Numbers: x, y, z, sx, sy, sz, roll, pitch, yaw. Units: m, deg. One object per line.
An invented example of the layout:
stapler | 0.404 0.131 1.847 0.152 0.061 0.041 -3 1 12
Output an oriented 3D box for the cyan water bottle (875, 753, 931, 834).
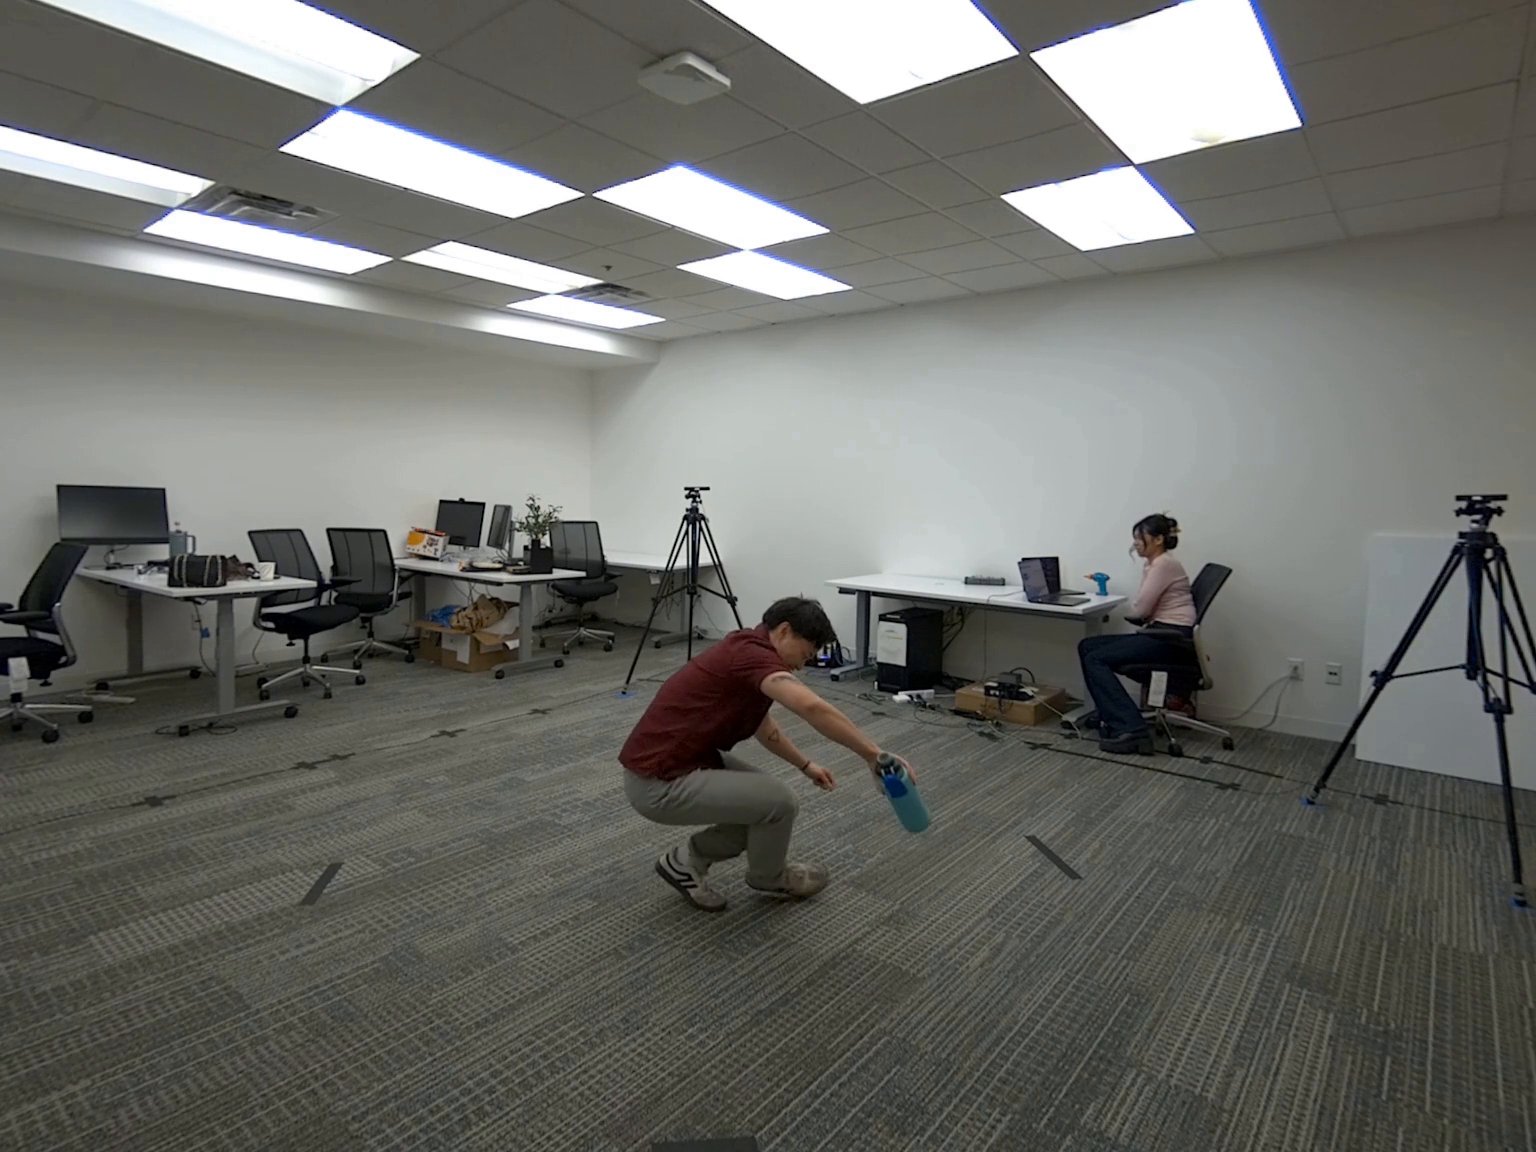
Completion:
cyan water bottle | 0.395 0.652 2.499 0.093 0.274 0.095 -20 31 11
